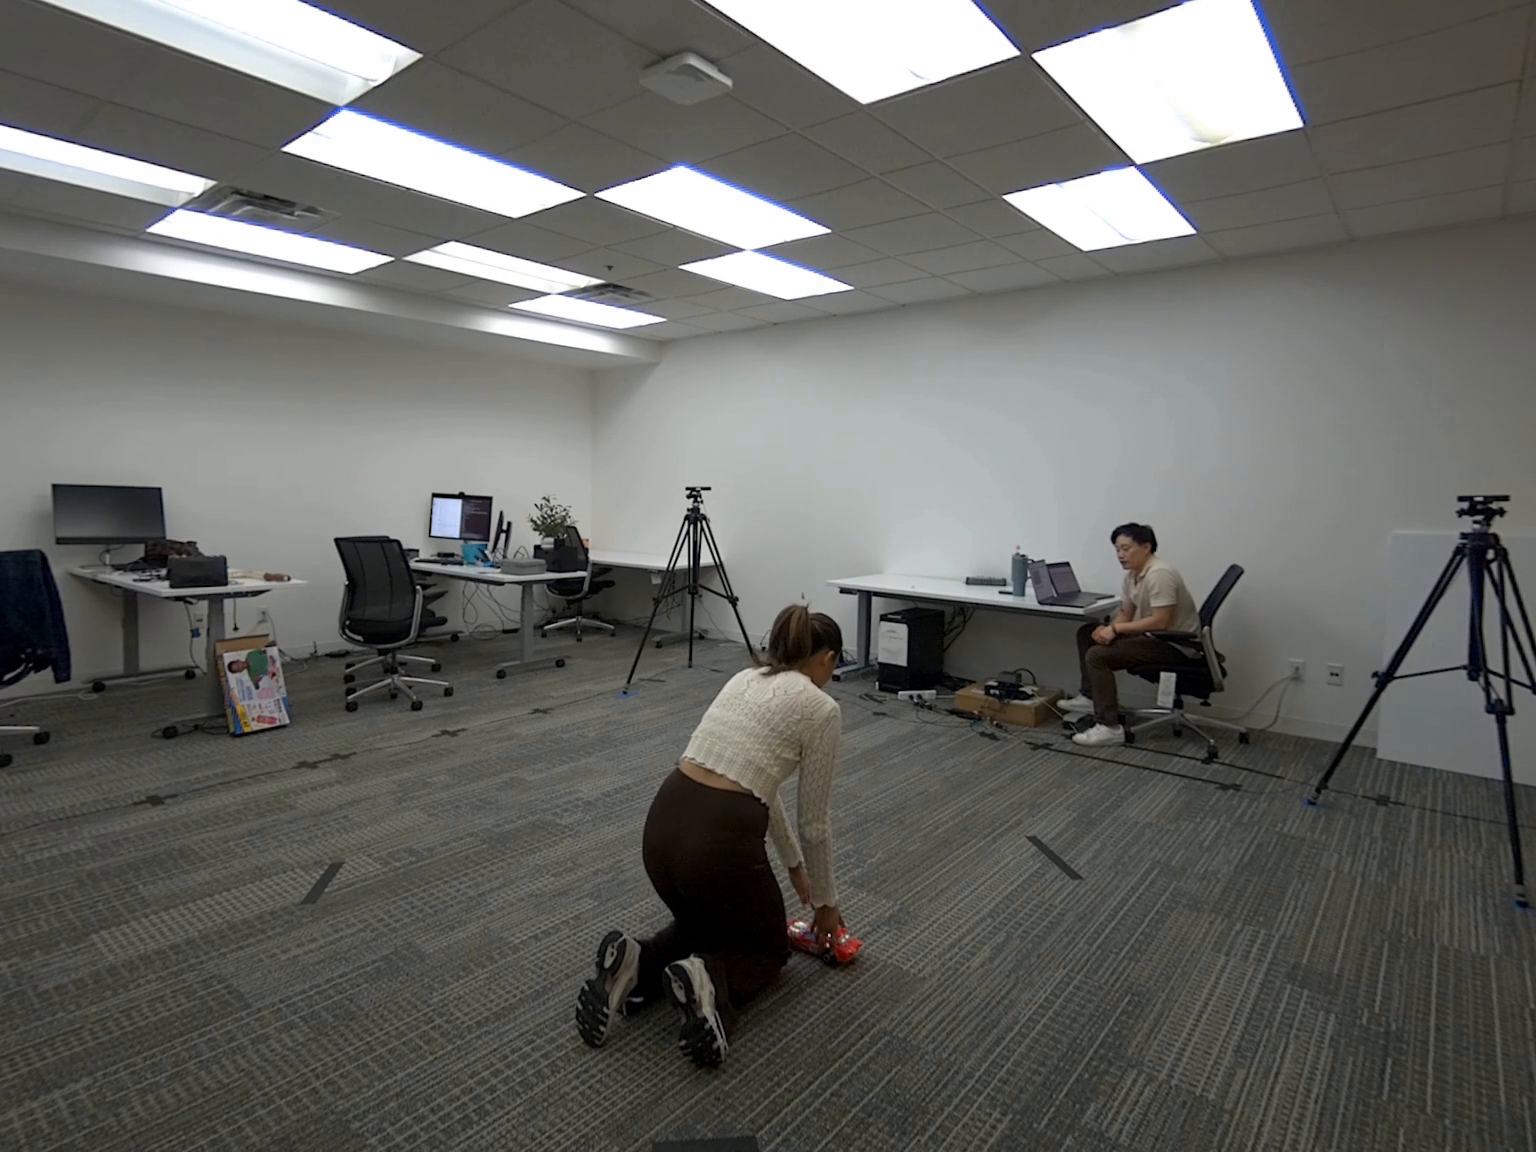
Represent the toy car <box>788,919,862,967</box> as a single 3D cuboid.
[{"bbox_3d":[0.158,1.095,2.556,0.261,0.083,0.127,-6,1,34],"label":"toy car"}]
